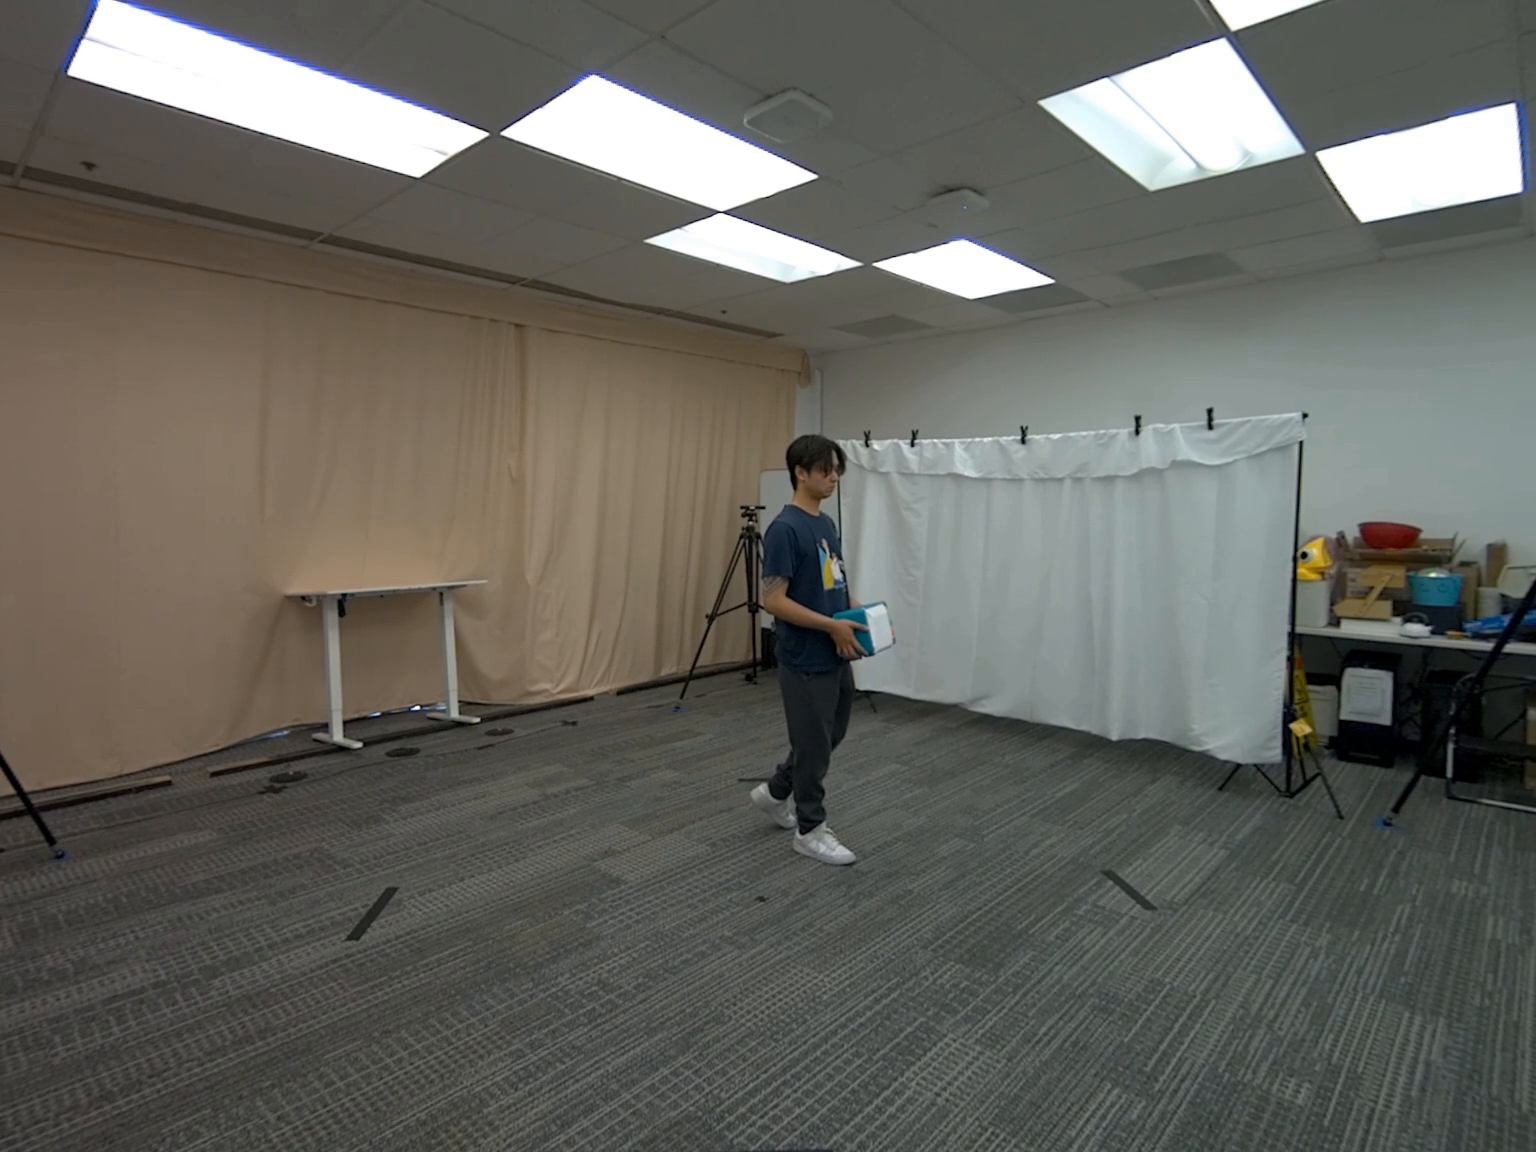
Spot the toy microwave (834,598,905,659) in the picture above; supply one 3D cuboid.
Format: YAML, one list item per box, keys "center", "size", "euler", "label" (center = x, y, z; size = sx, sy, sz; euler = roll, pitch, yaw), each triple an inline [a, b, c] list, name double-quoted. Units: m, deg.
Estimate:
- center: [0.379, 0.200, 3.217]
  size: [0.156, 0.185, 0.279]
  euler: [-14, -3, 28]
  label: "toy microwave"
